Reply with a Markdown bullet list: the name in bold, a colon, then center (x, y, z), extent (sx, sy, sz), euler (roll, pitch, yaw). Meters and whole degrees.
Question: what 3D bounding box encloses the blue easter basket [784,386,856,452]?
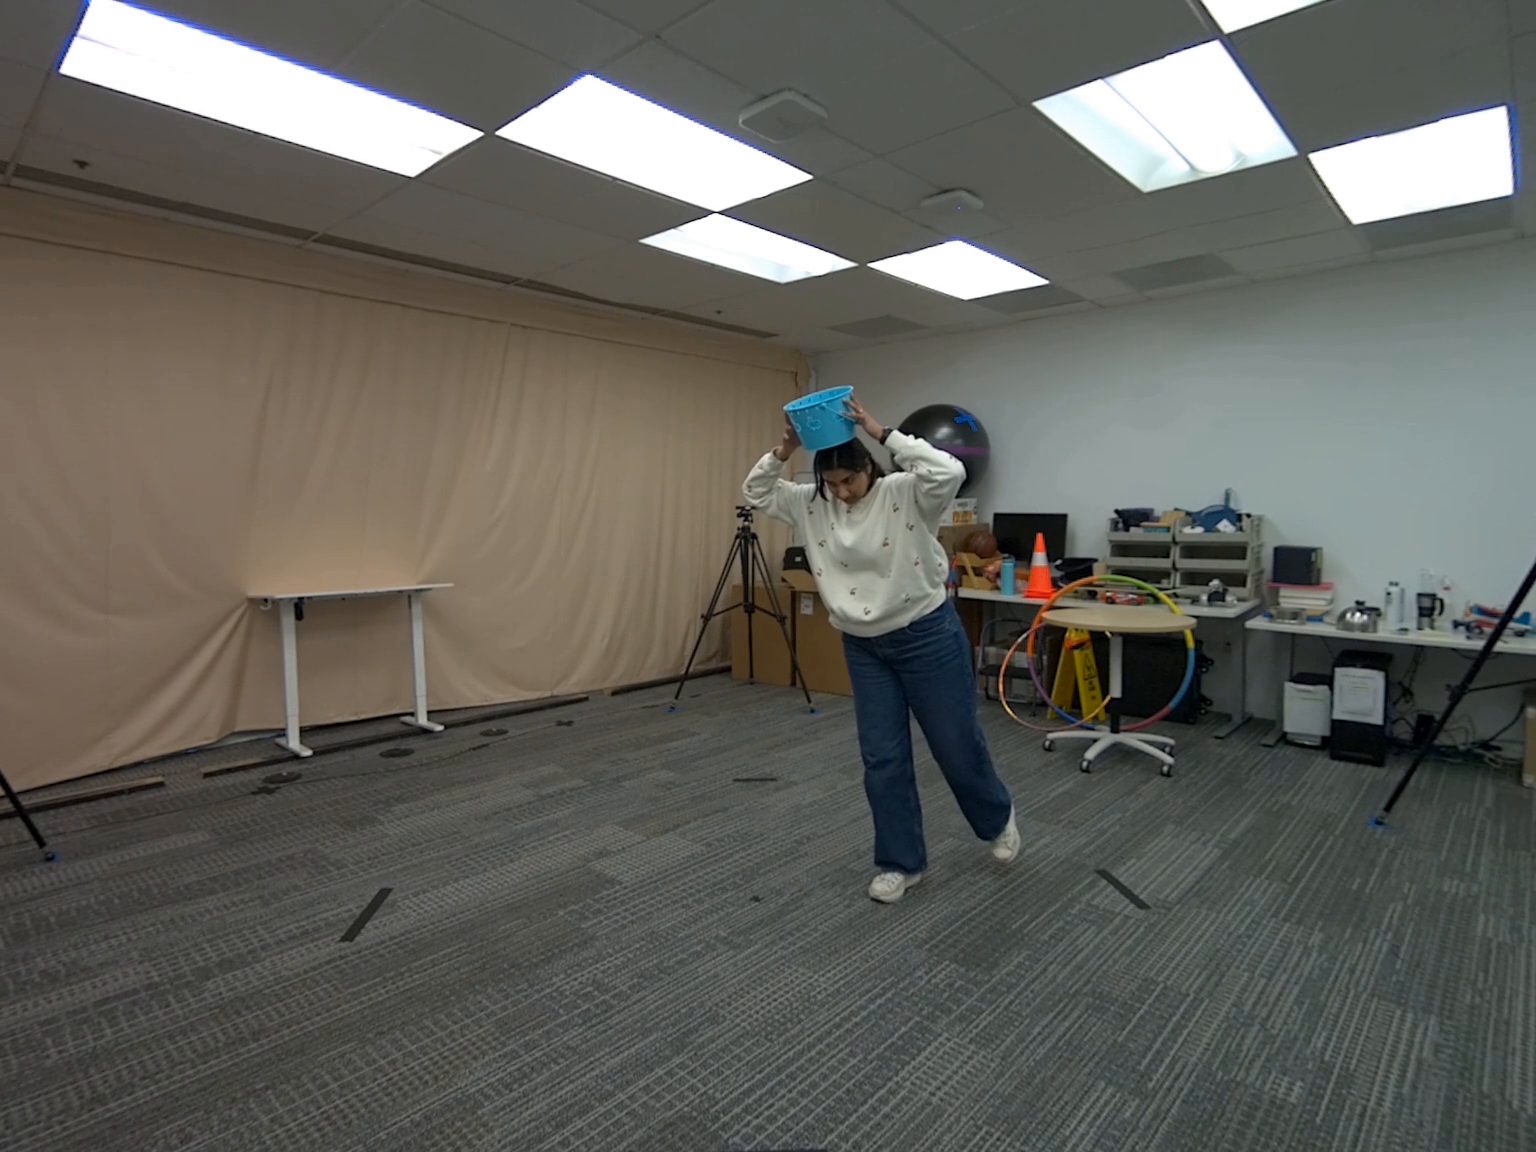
- **blue easter basket**: center (0.193, -0.514, 2.761), extent (0.244, 0.153, 0.246), euler (-19, 17, 4)
